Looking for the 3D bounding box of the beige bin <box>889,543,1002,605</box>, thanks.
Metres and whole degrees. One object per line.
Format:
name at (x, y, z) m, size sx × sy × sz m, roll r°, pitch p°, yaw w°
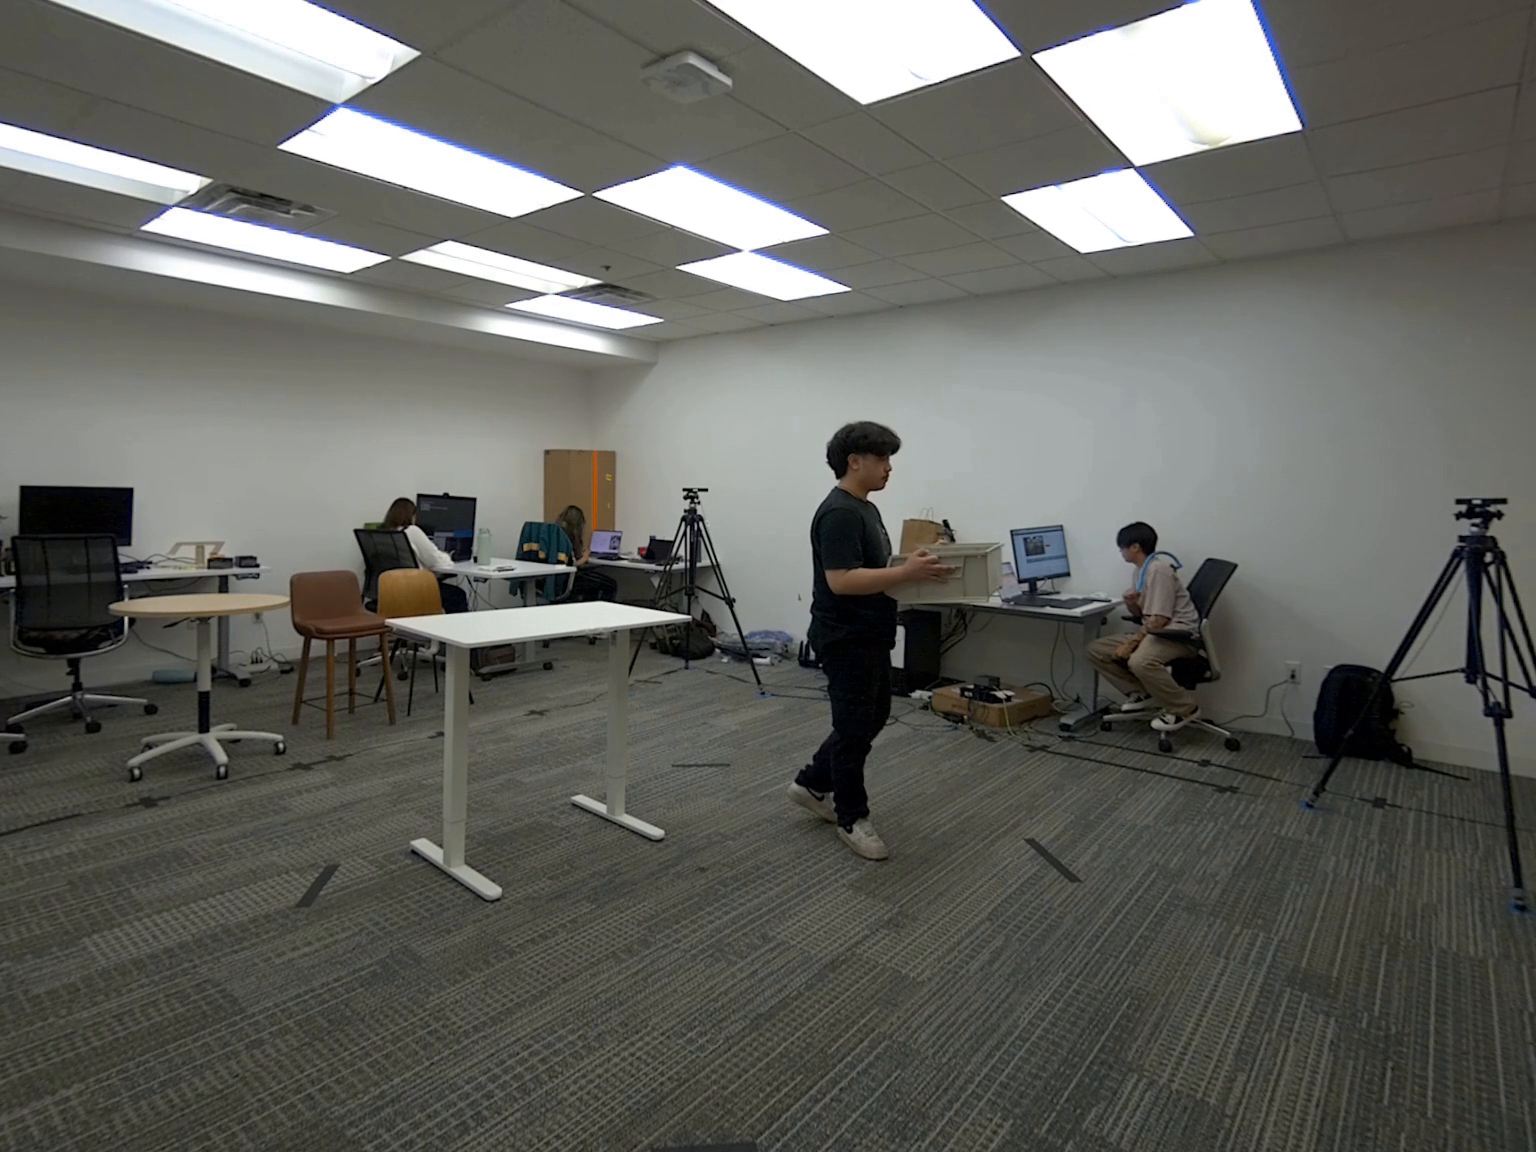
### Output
beige bin at (0.666, -0.012, 3.206) m, size 0.386 × 0.188 × 0.414 m, roll -1°, pitch 6°, yaw 24°
